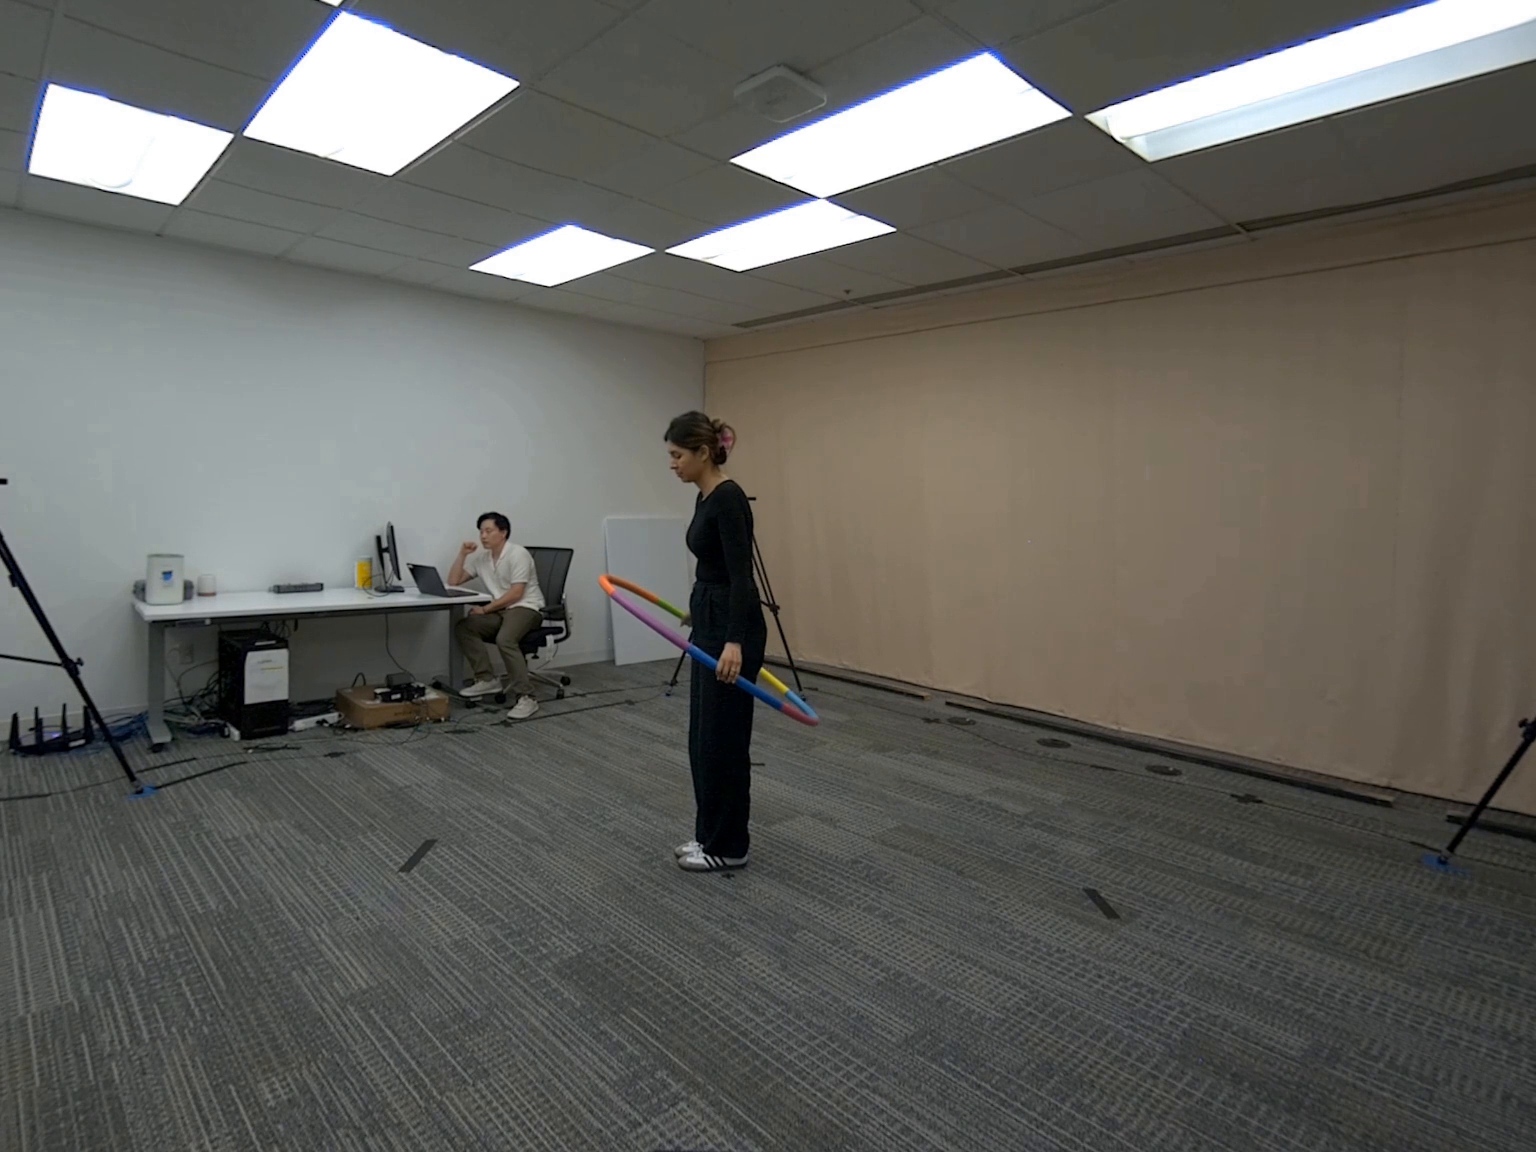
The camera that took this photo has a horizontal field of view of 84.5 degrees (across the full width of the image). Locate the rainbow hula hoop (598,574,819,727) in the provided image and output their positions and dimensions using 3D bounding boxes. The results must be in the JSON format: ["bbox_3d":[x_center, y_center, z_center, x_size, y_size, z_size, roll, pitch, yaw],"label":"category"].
[{"bbox_3d":[-0.218,0.272,3.210,0.978,0.035,0.979,34,0,-1],"label":"rainbow hula hoop"}]
